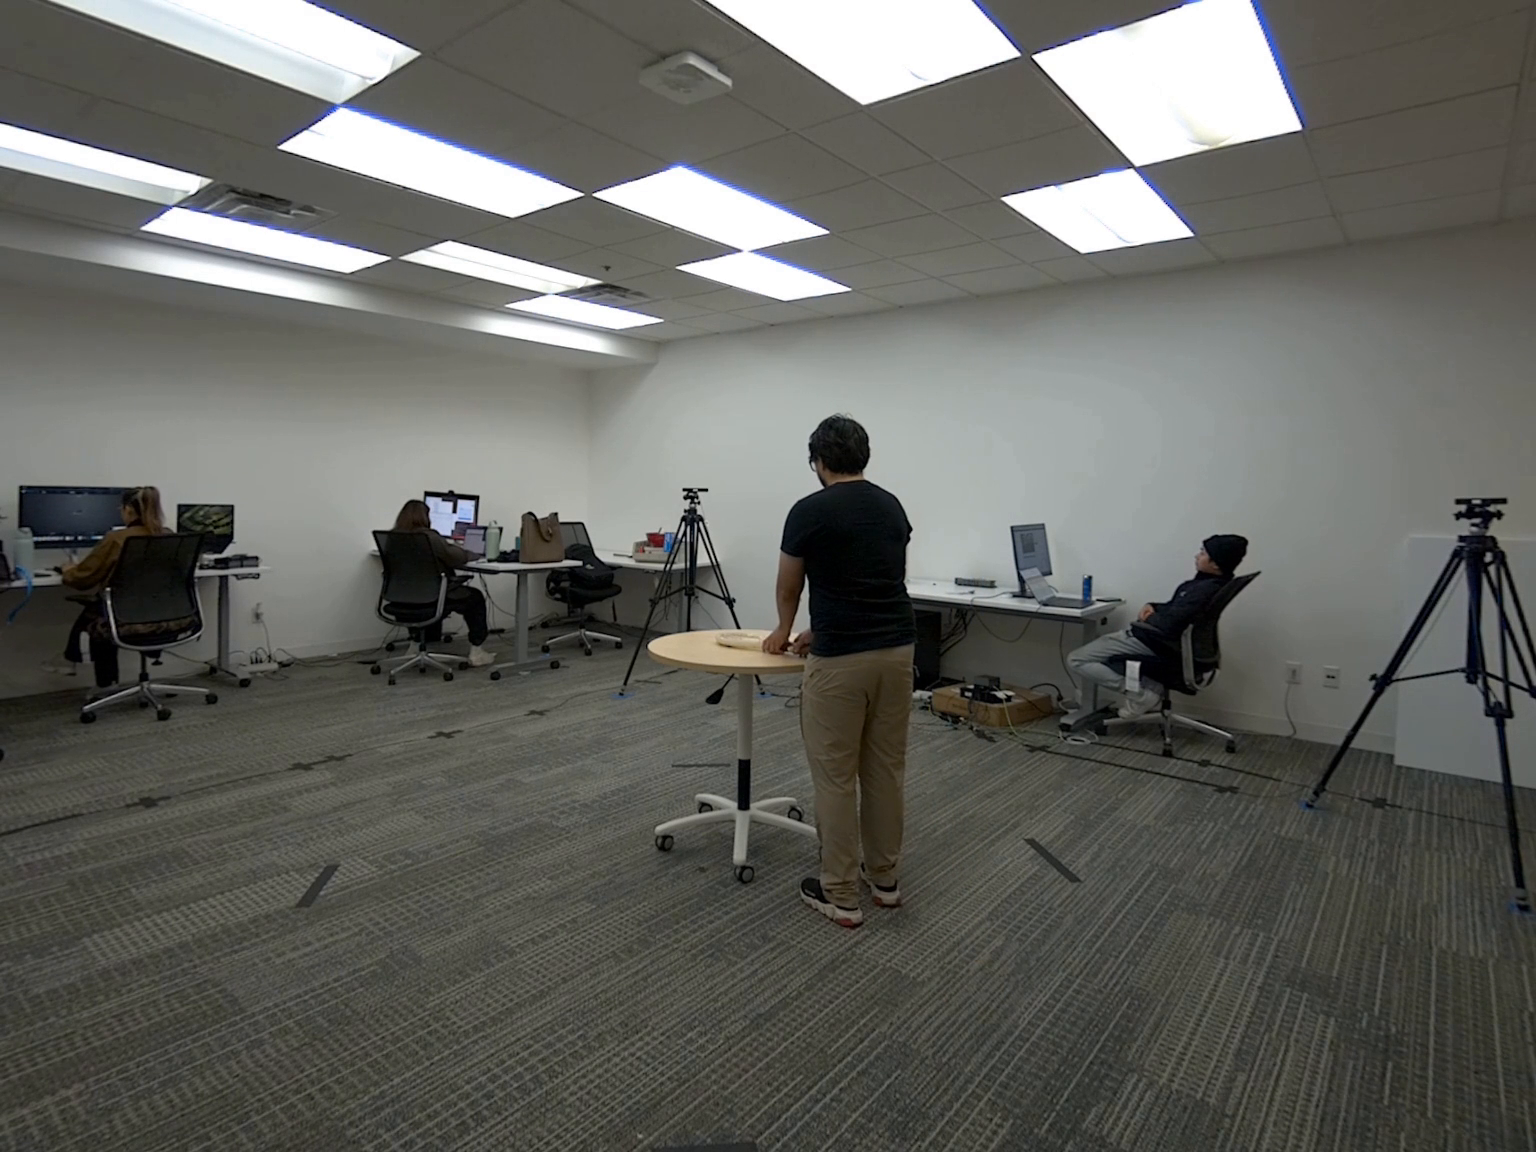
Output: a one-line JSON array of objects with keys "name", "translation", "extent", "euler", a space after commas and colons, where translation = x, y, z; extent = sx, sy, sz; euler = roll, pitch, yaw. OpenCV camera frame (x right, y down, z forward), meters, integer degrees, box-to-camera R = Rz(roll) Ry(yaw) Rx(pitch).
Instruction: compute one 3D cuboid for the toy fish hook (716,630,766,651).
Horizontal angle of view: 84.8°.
[{"name": "toy fish hook", "translation": [0.016, 0.257, 3.272], "extent": [0.524, 0.048, 0.219], "euler": [8, 12, 39]}]
